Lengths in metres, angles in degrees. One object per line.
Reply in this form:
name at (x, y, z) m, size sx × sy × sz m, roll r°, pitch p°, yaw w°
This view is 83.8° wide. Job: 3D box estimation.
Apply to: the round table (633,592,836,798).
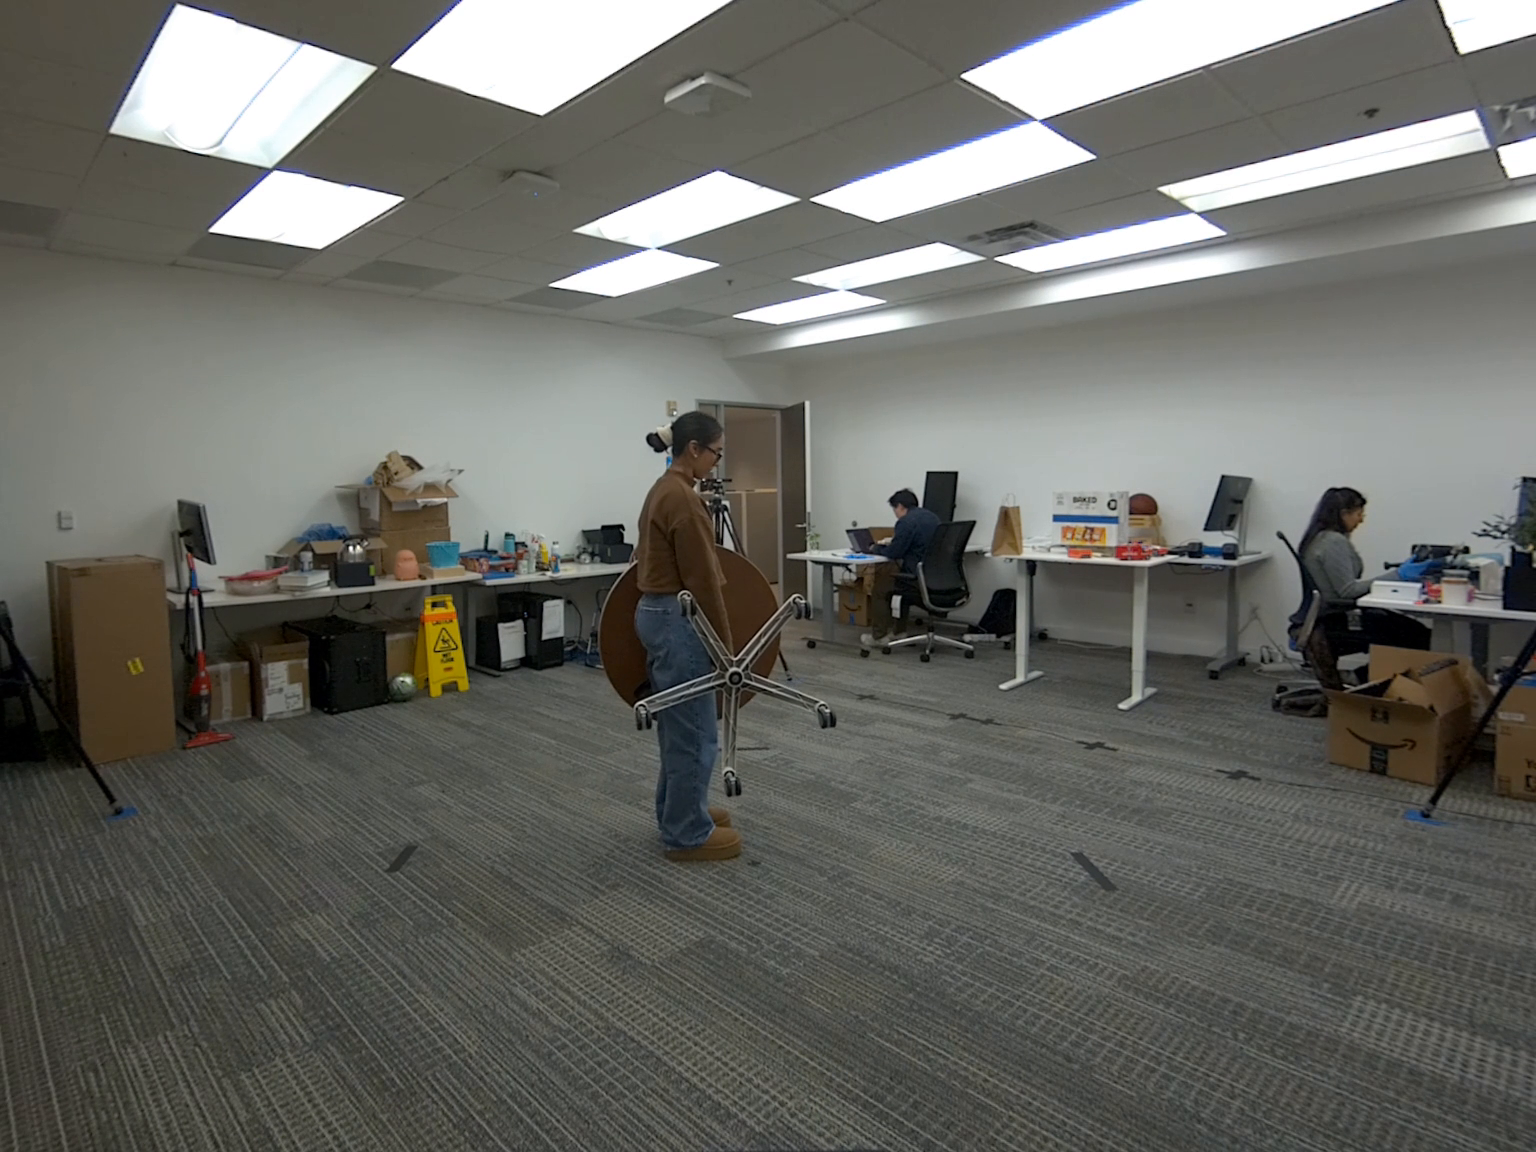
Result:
round table at (-0.201, 0.307, 3.141) m, size 0.753 × 0.758 × 0.812 m, roll -2°, pitch 9°, yaw -16°
